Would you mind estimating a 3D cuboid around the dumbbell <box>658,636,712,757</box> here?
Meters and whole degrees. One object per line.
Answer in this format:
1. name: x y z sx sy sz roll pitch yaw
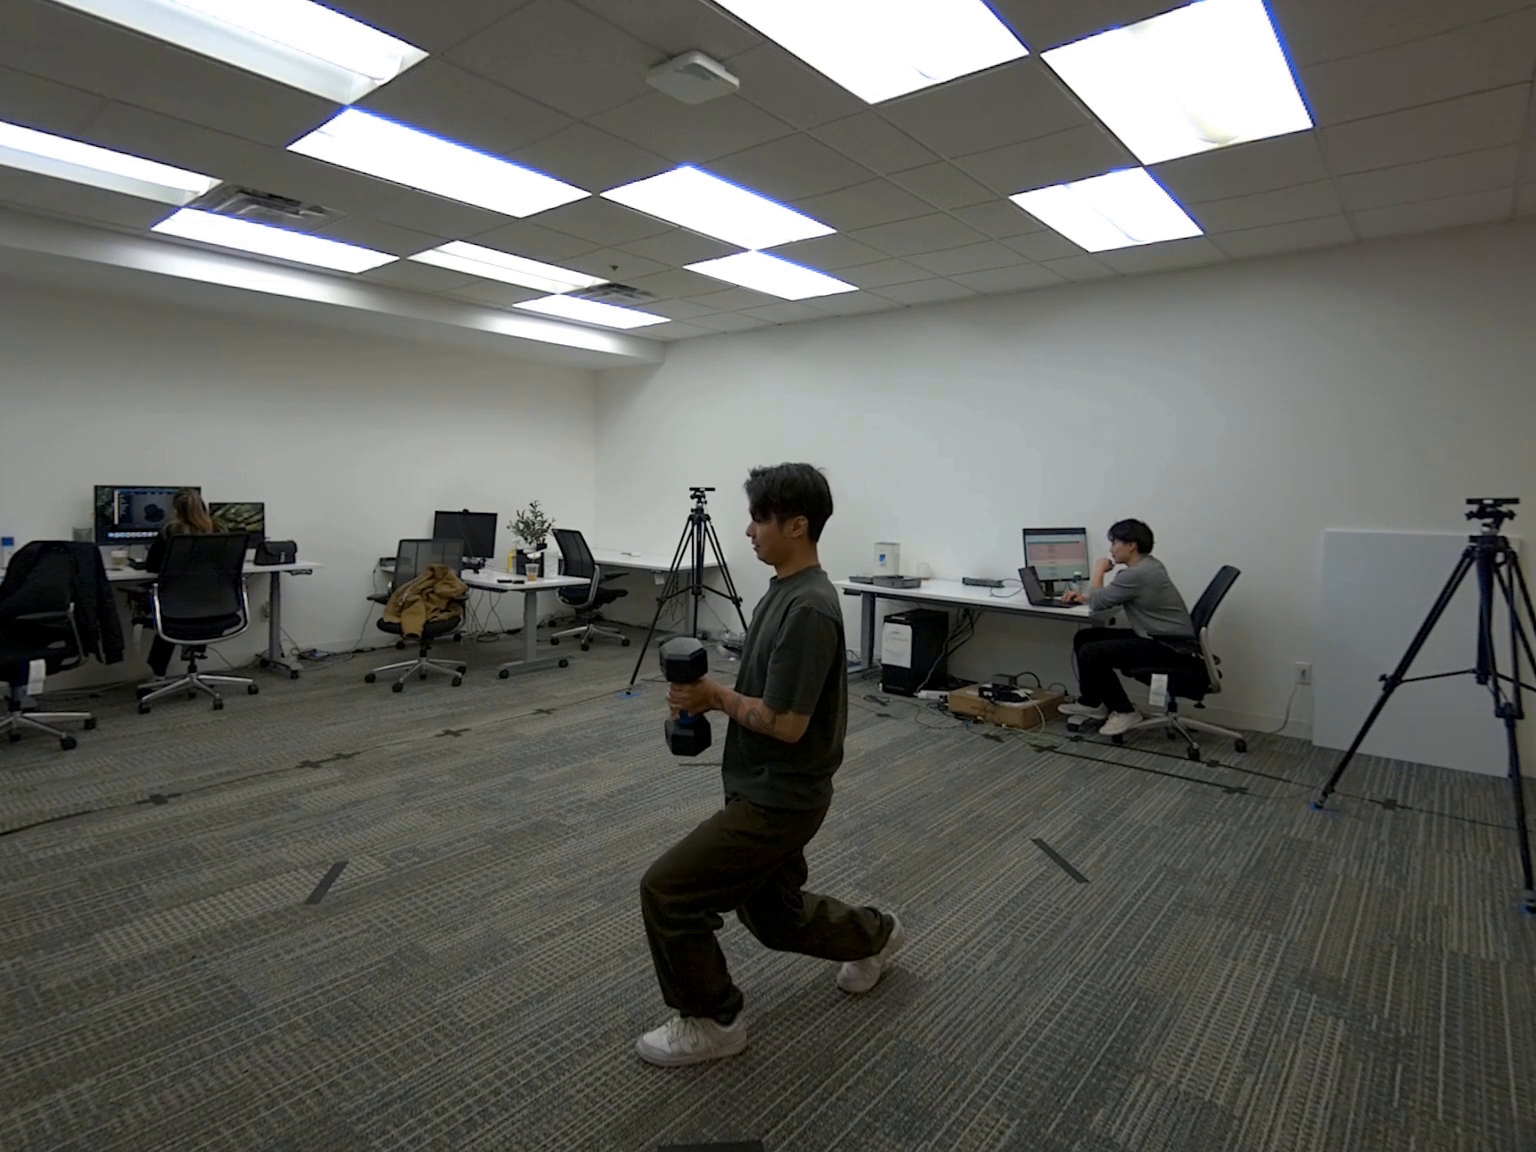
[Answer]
1. dumbbell: -0.211 0.296 2.160 0.112 0.288 0.121 13 26 34
